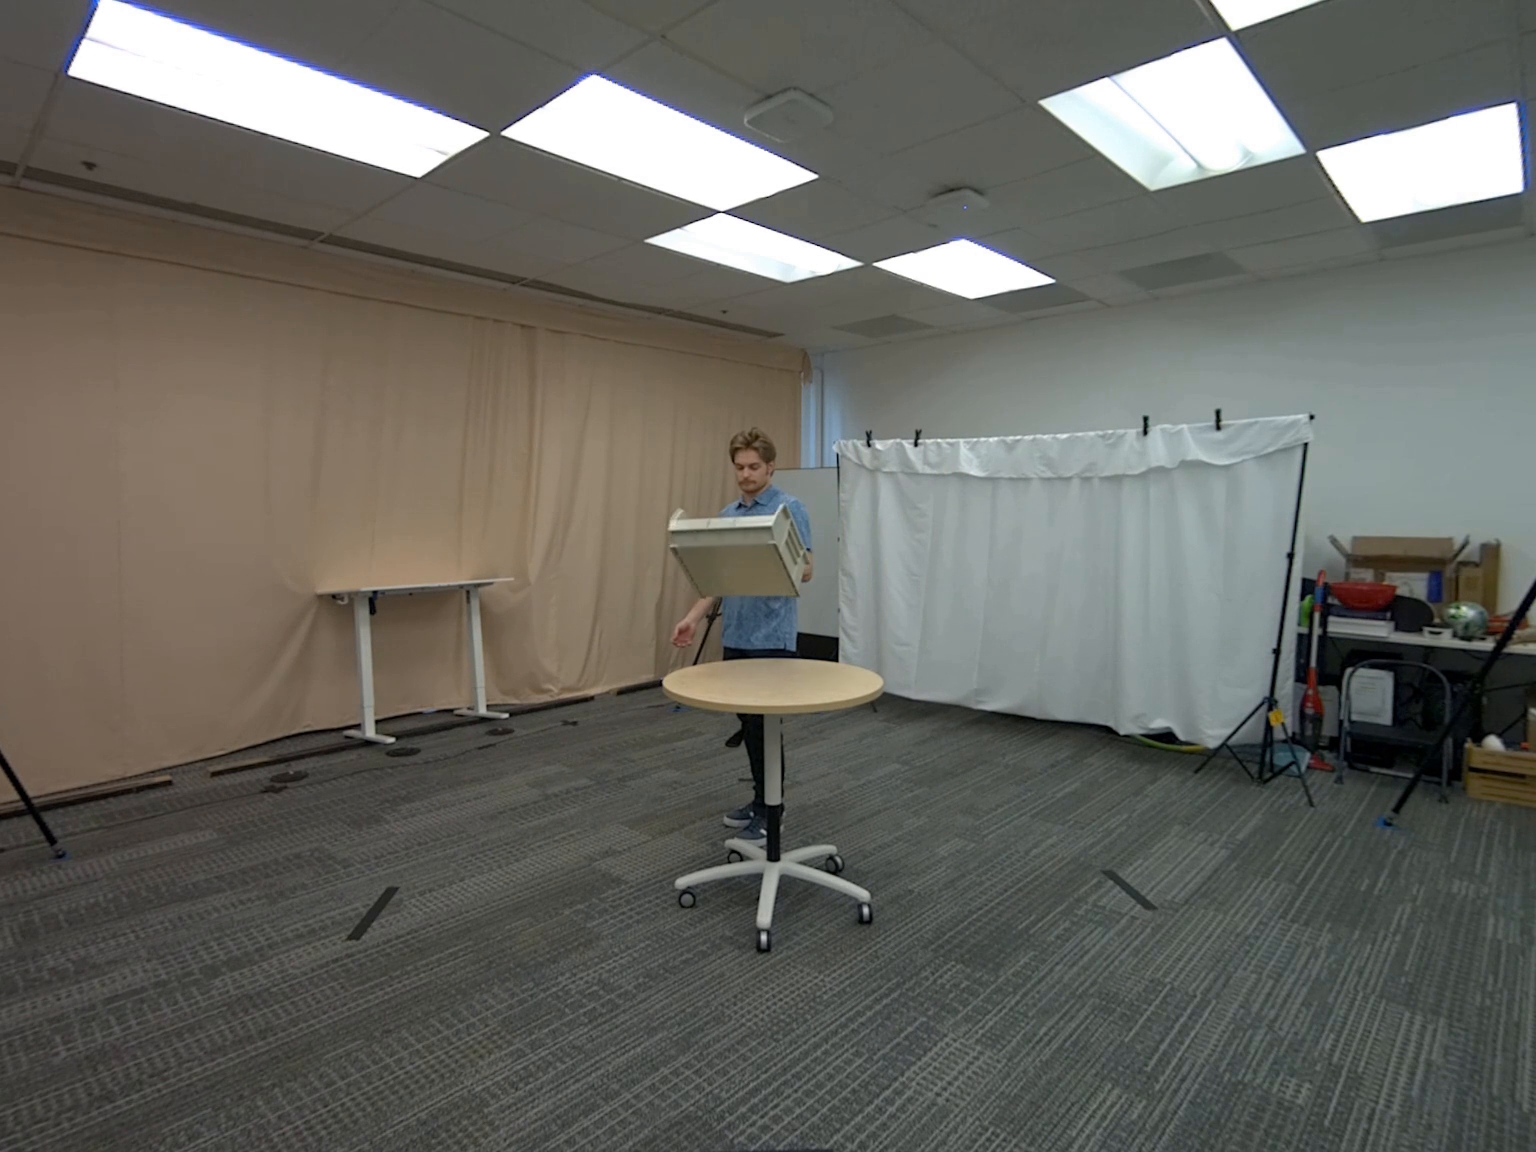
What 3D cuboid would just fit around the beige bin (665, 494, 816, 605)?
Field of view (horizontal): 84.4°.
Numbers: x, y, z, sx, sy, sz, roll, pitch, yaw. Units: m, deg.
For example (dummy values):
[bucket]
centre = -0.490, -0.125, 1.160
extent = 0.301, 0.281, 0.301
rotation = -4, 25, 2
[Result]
[beige bin]
centre = -0.093, -0.087, 3.088
extent = 0.432, 0.190, 0.366
rotation = -1, -41, 23
